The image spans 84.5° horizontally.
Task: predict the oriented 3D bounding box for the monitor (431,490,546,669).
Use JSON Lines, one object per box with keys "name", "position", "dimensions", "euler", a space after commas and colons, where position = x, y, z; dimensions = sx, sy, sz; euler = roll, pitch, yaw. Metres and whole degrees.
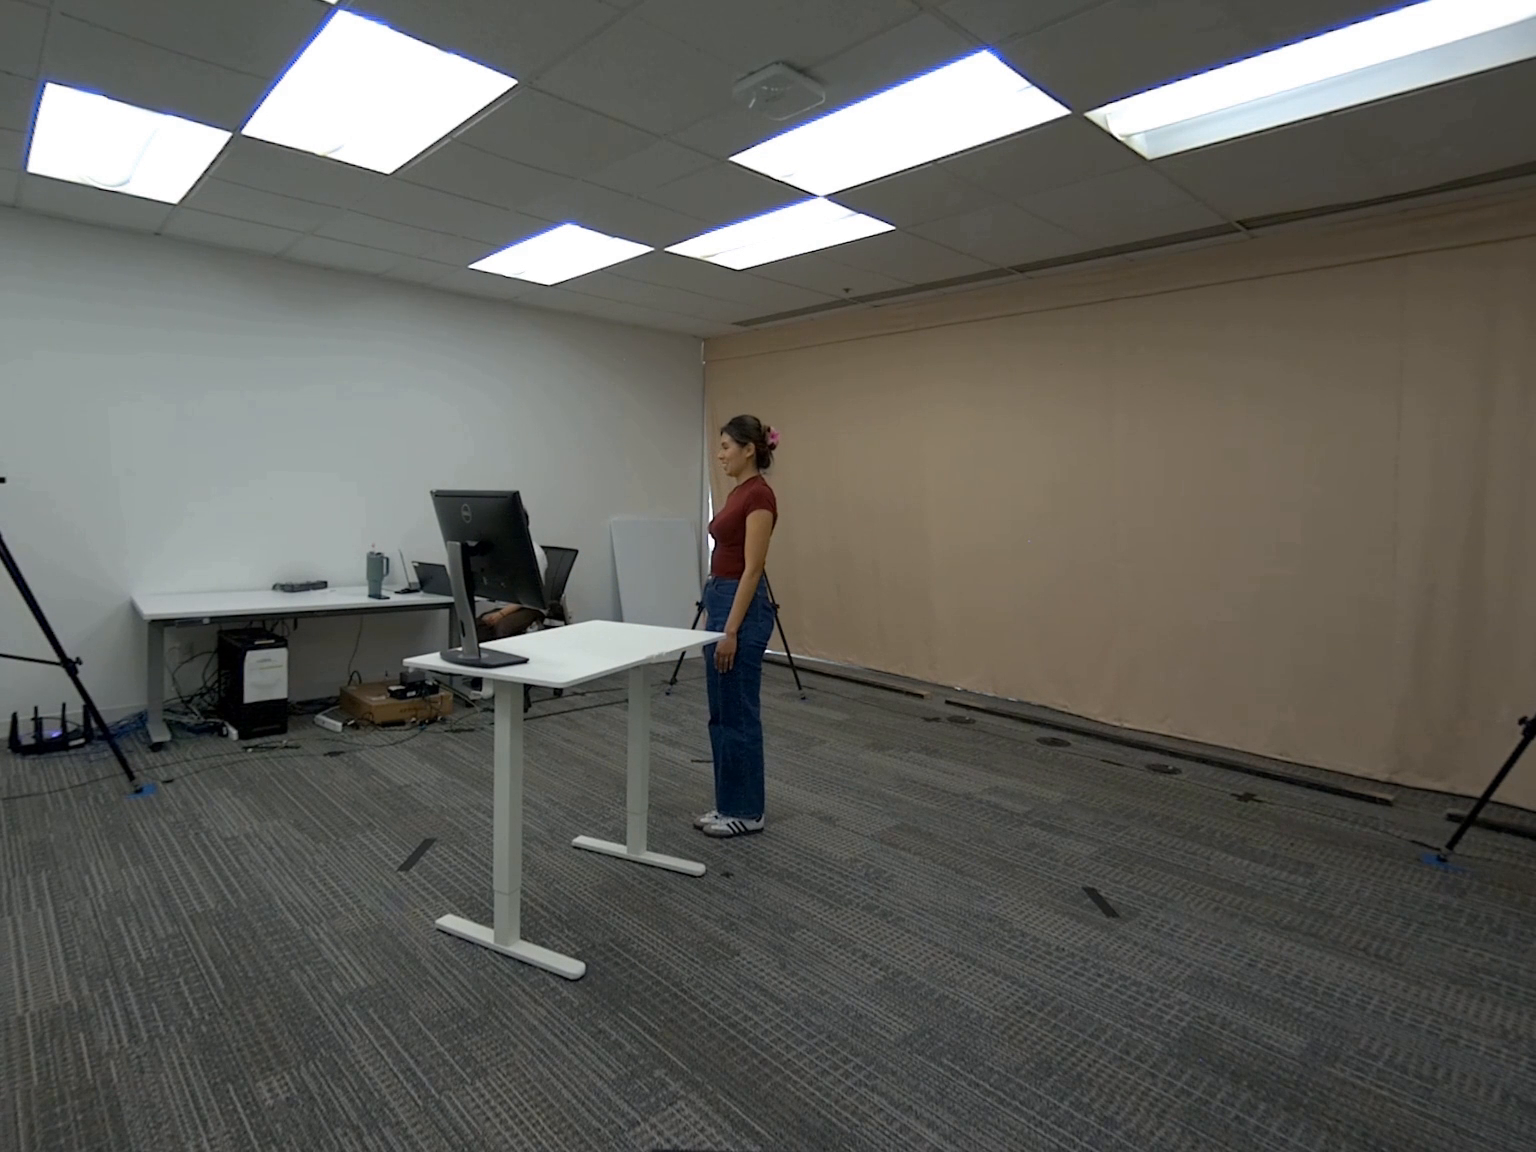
{"name": "monitor", "position": [-0.882, 0.007, 2.525], "dimensions": [0.553, 0.520, 0.183], "euler": [5, 7, 42]}
